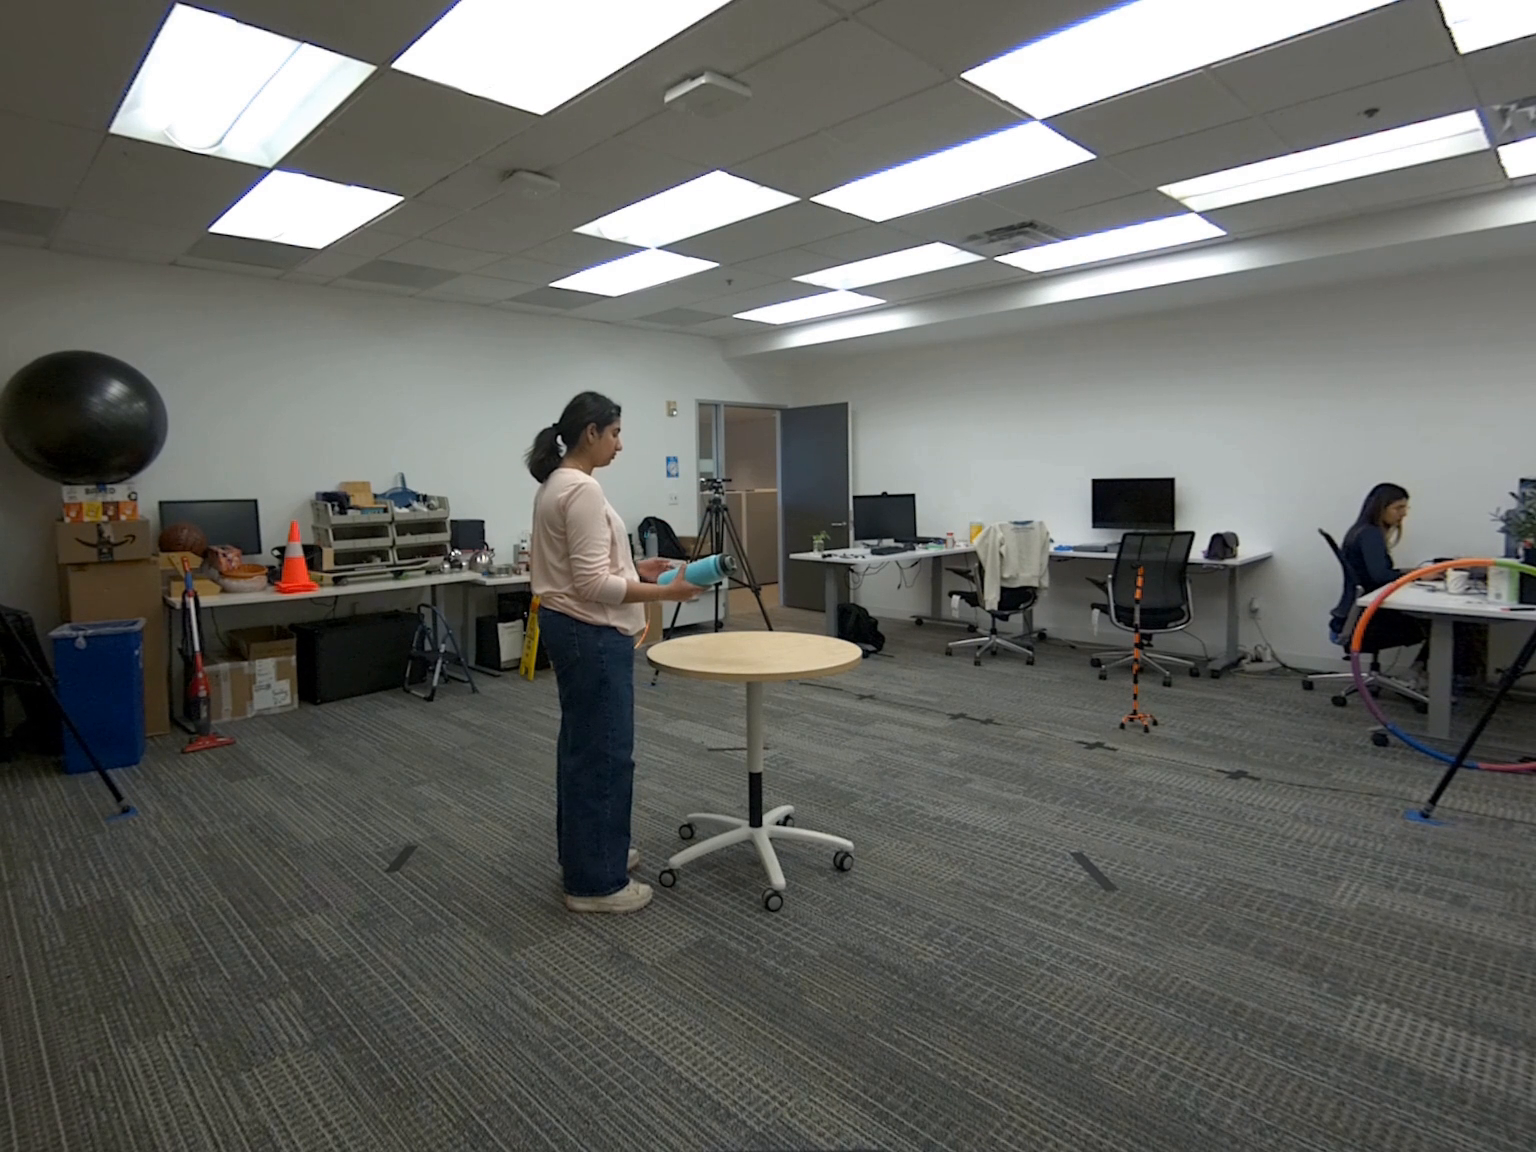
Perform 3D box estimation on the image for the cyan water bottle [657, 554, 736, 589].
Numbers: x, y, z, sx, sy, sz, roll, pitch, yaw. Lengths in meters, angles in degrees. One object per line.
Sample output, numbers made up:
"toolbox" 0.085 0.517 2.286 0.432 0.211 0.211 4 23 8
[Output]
"cyan water bottle" -0.230 -0.006 2.828 0.287 0.093 0.090 -19 -4 27
